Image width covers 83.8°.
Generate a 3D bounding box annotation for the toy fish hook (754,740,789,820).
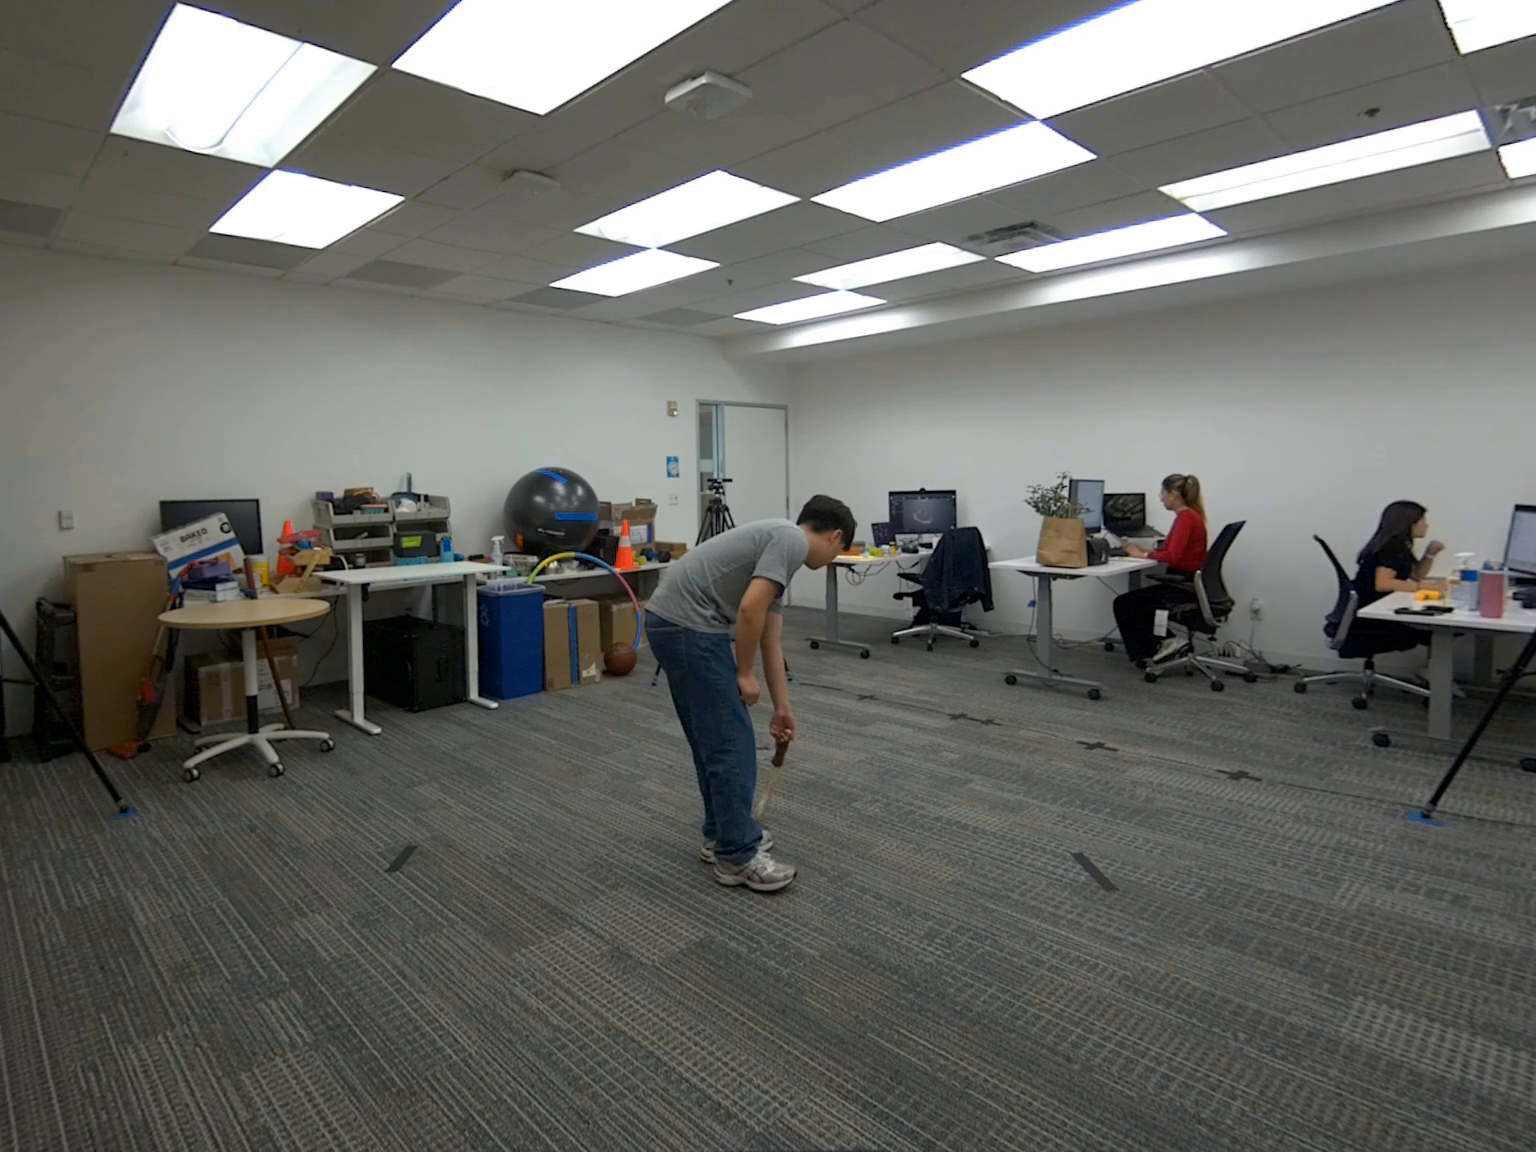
[{"bbox_3d":[0.018,0.802,3.356,0.048,0.496,0.228,17,42,2],"label":"toy fish hook"}]
